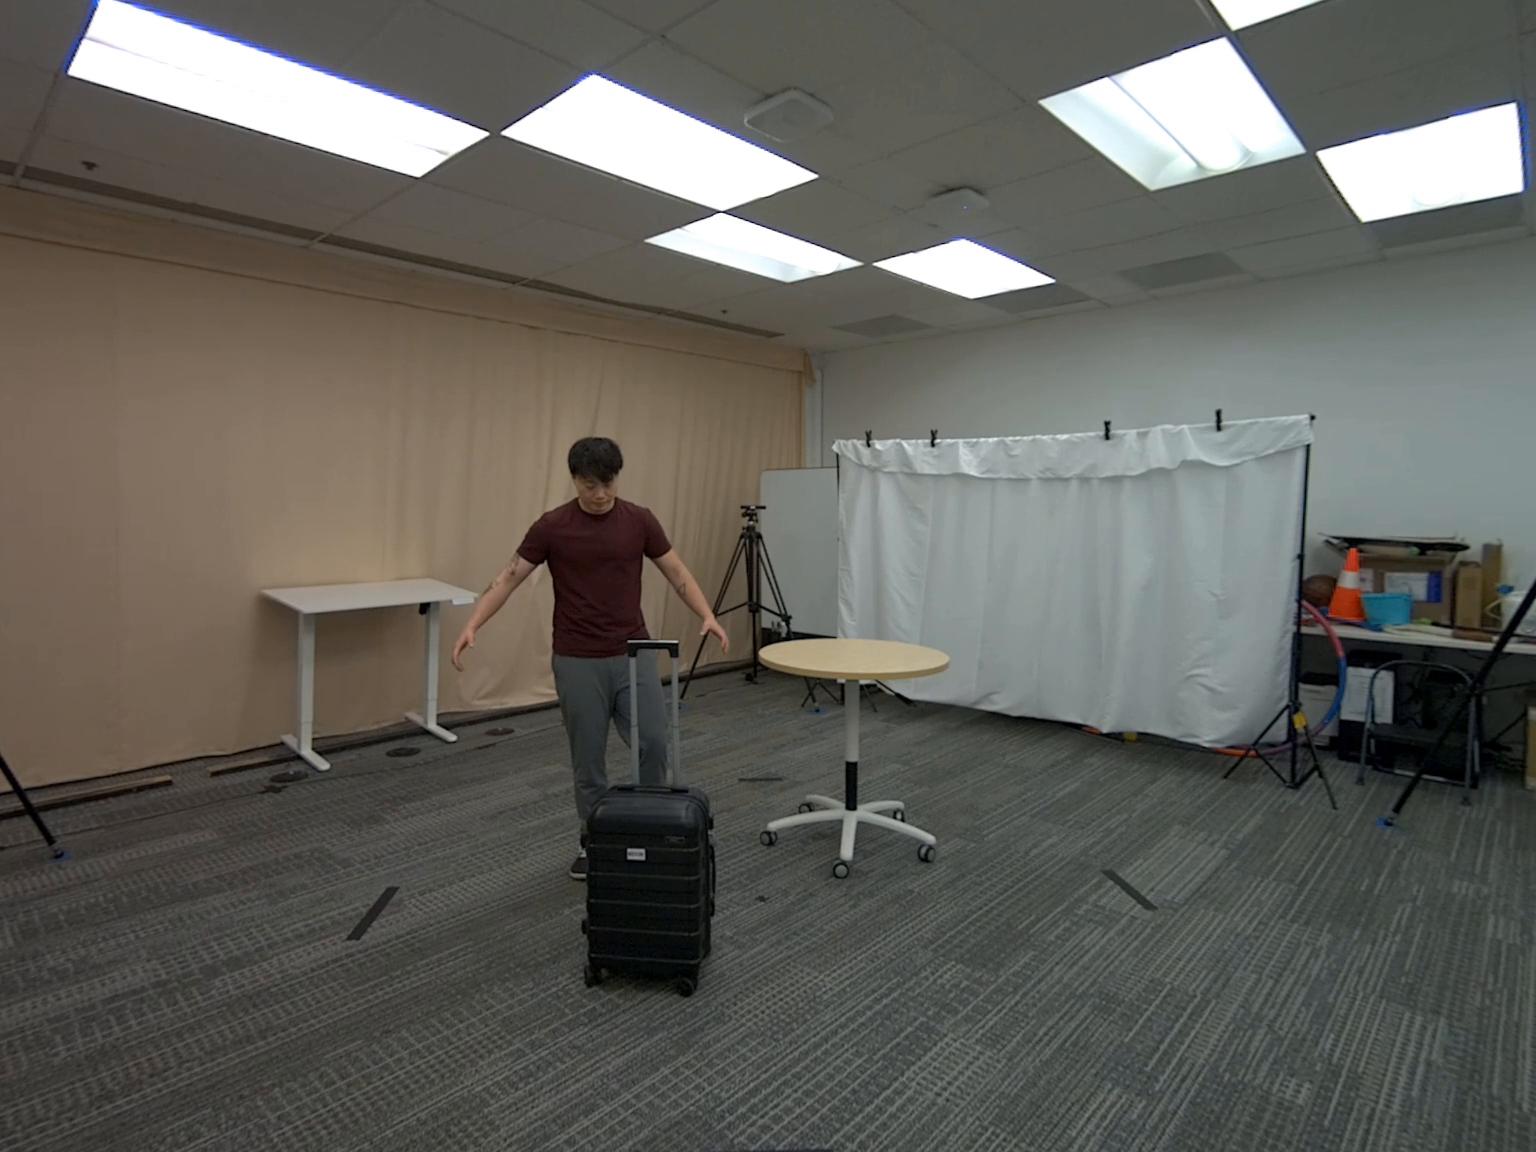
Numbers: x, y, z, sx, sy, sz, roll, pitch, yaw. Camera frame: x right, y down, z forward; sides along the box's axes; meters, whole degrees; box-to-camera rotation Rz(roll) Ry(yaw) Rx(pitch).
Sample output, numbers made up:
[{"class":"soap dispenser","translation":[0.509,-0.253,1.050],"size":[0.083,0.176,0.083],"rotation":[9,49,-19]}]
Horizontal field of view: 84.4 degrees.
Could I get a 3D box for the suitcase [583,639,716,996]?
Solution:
[{"class":"suitcase","translation":[-0.349,0.711,2.493],"size":[0.387,0.975,0.256],"rotation":[0,5,7]}]
